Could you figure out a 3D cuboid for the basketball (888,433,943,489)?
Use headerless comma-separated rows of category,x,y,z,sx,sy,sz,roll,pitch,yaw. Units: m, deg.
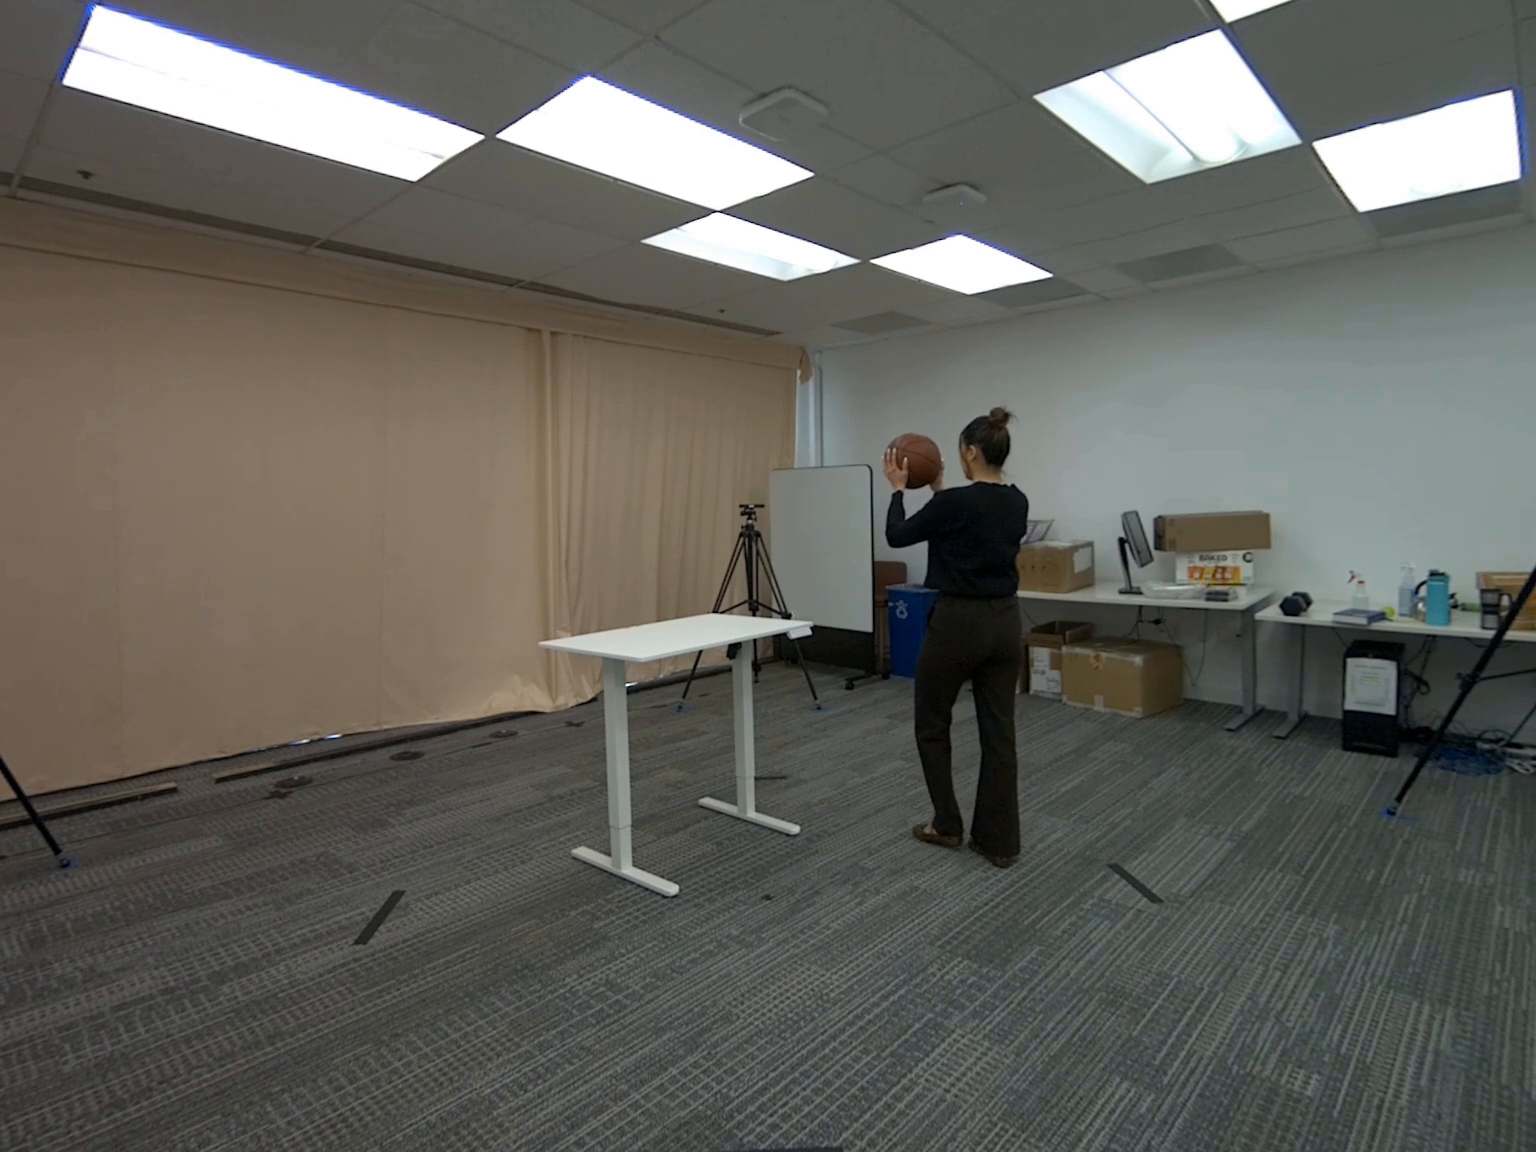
basketball,0.604,-0.481,3.535,0.236,0.235,0.237,-1,4,-2
